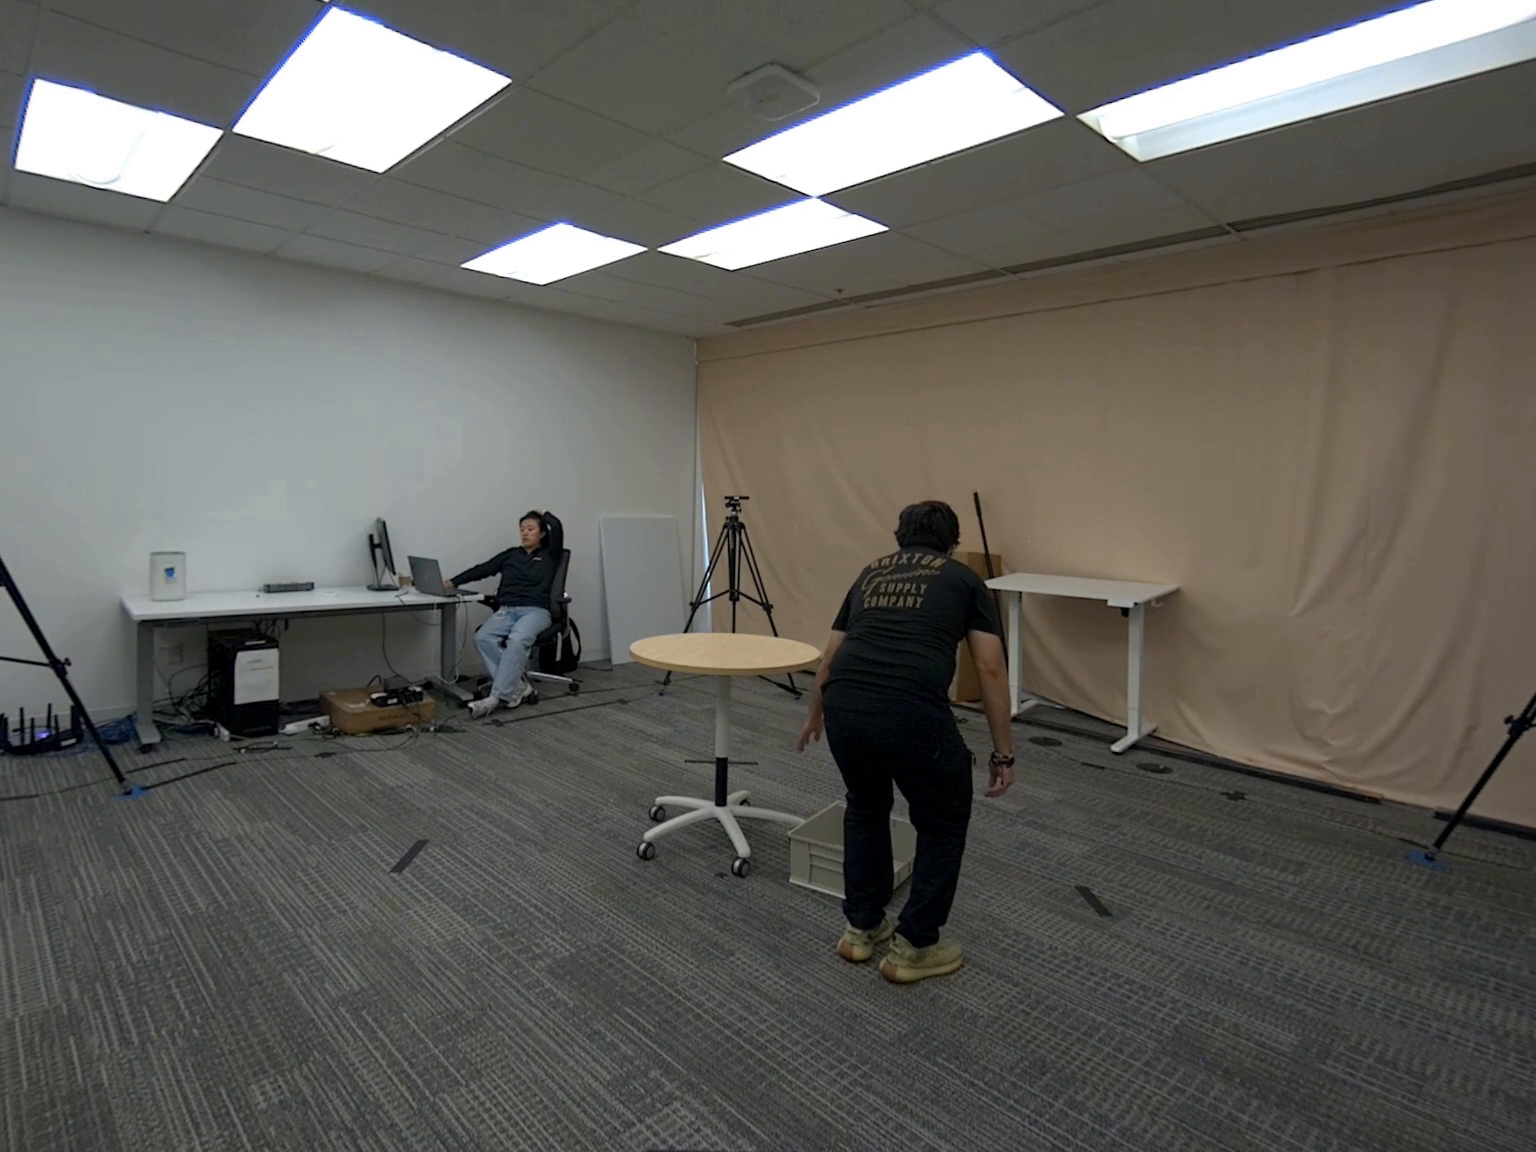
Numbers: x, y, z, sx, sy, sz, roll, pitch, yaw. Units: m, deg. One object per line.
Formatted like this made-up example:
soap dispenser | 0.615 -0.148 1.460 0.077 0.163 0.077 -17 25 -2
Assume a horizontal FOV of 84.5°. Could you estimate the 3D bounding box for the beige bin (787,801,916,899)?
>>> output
beige bin | 0.316 1.026 3.129 0.385 0.188 0.414 3 5 30
